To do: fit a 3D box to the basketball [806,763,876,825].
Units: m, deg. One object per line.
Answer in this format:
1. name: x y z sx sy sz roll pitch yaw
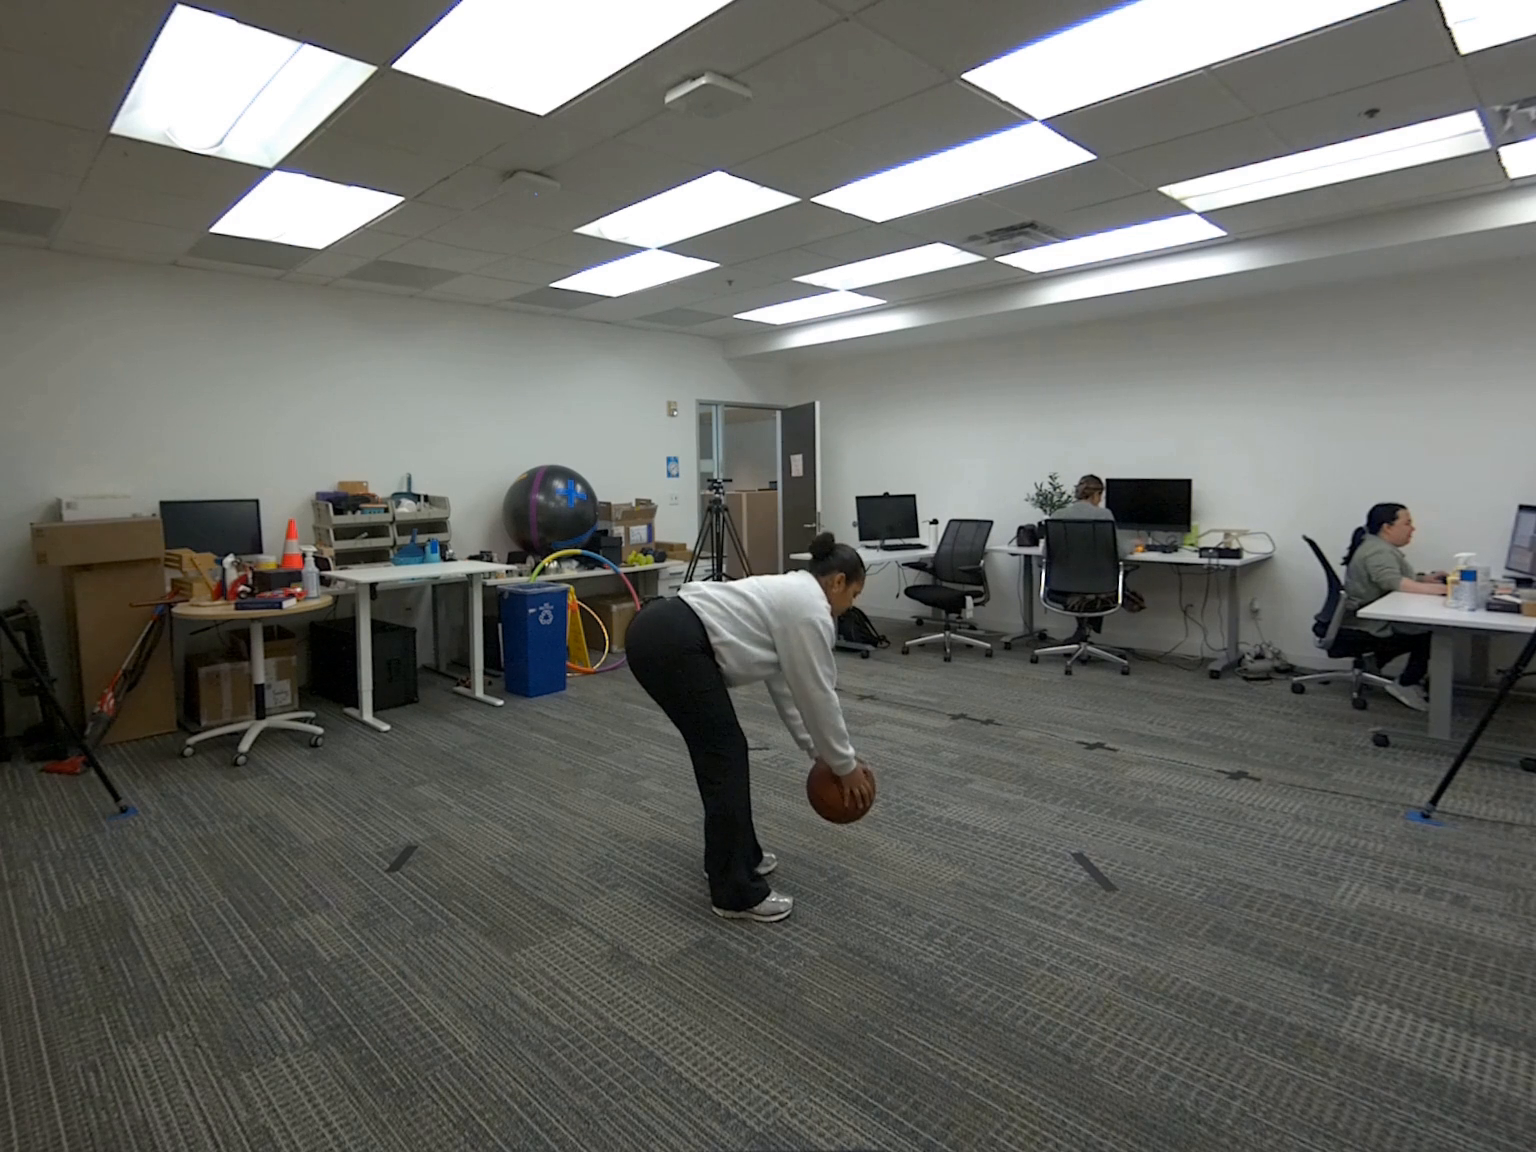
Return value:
1. basketball: 0.251 0.707 2.960 0.236 0.235 0.237 -1 5 -2
